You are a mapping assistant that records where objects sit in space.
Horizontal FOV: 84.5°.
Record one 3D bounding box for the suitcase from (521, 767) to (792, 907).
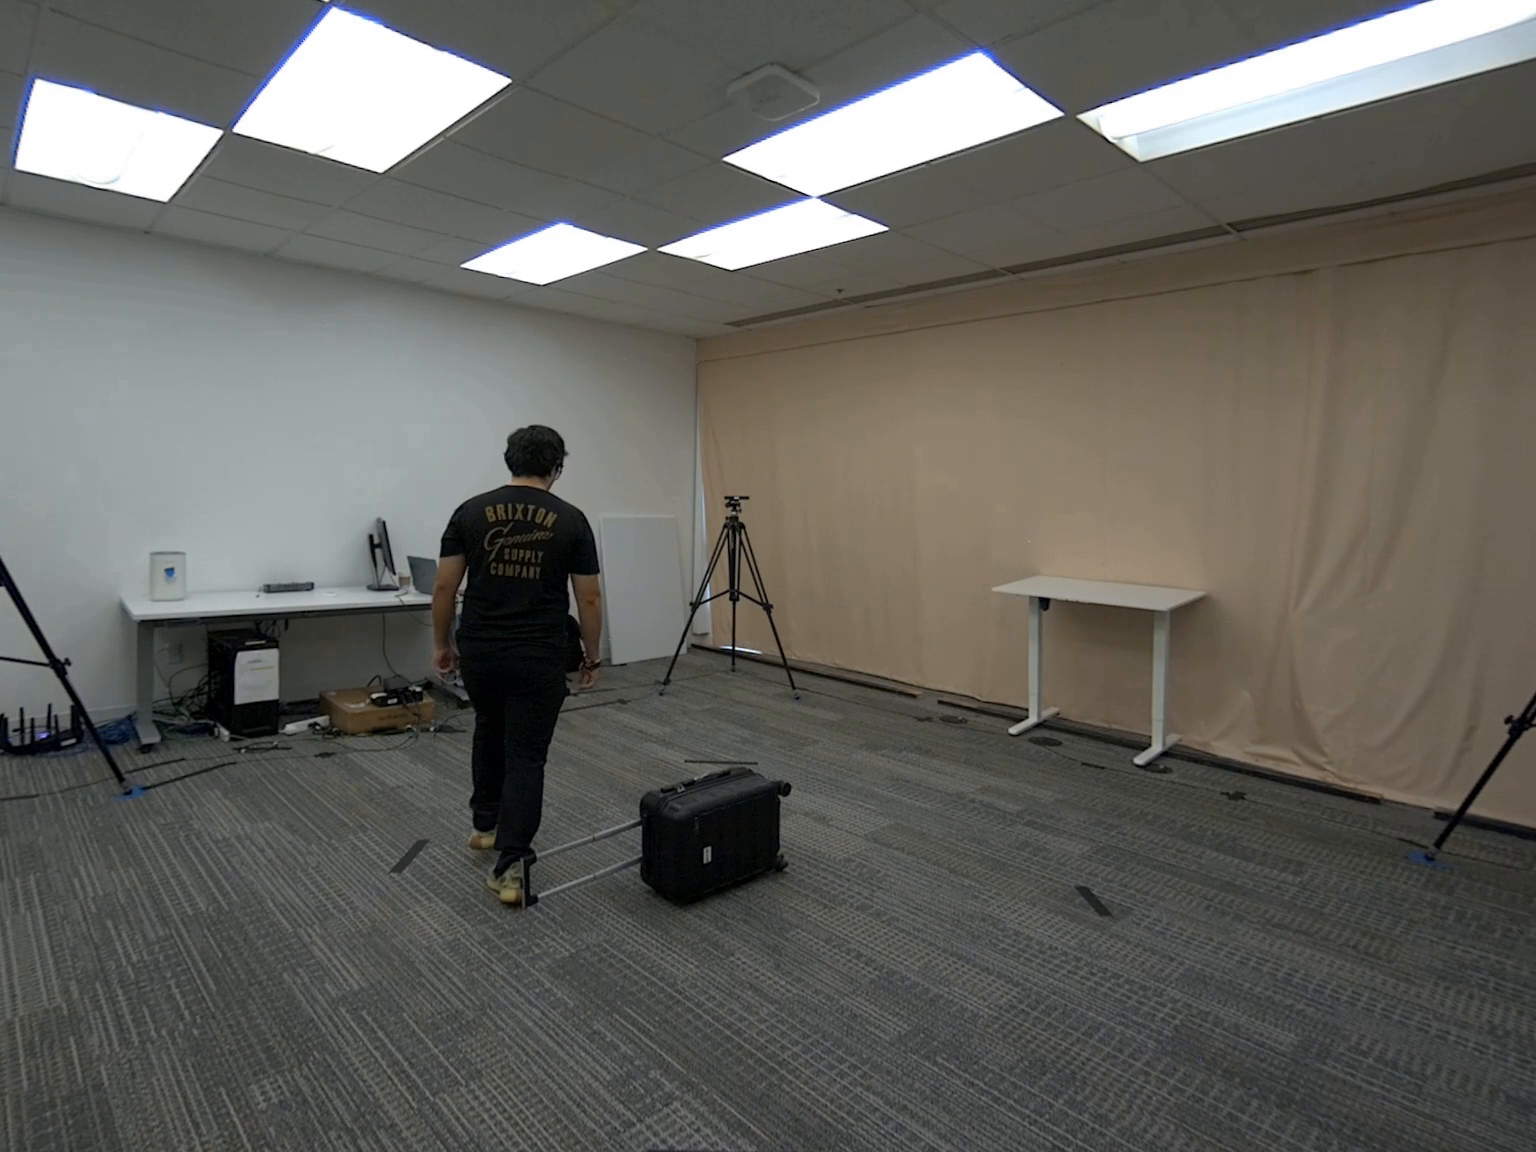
[{"bbox_3d":[-0.344,0.934,2.893,0.957,0.383,0.263,-4,6,-44],"label":"suitcase"}]
